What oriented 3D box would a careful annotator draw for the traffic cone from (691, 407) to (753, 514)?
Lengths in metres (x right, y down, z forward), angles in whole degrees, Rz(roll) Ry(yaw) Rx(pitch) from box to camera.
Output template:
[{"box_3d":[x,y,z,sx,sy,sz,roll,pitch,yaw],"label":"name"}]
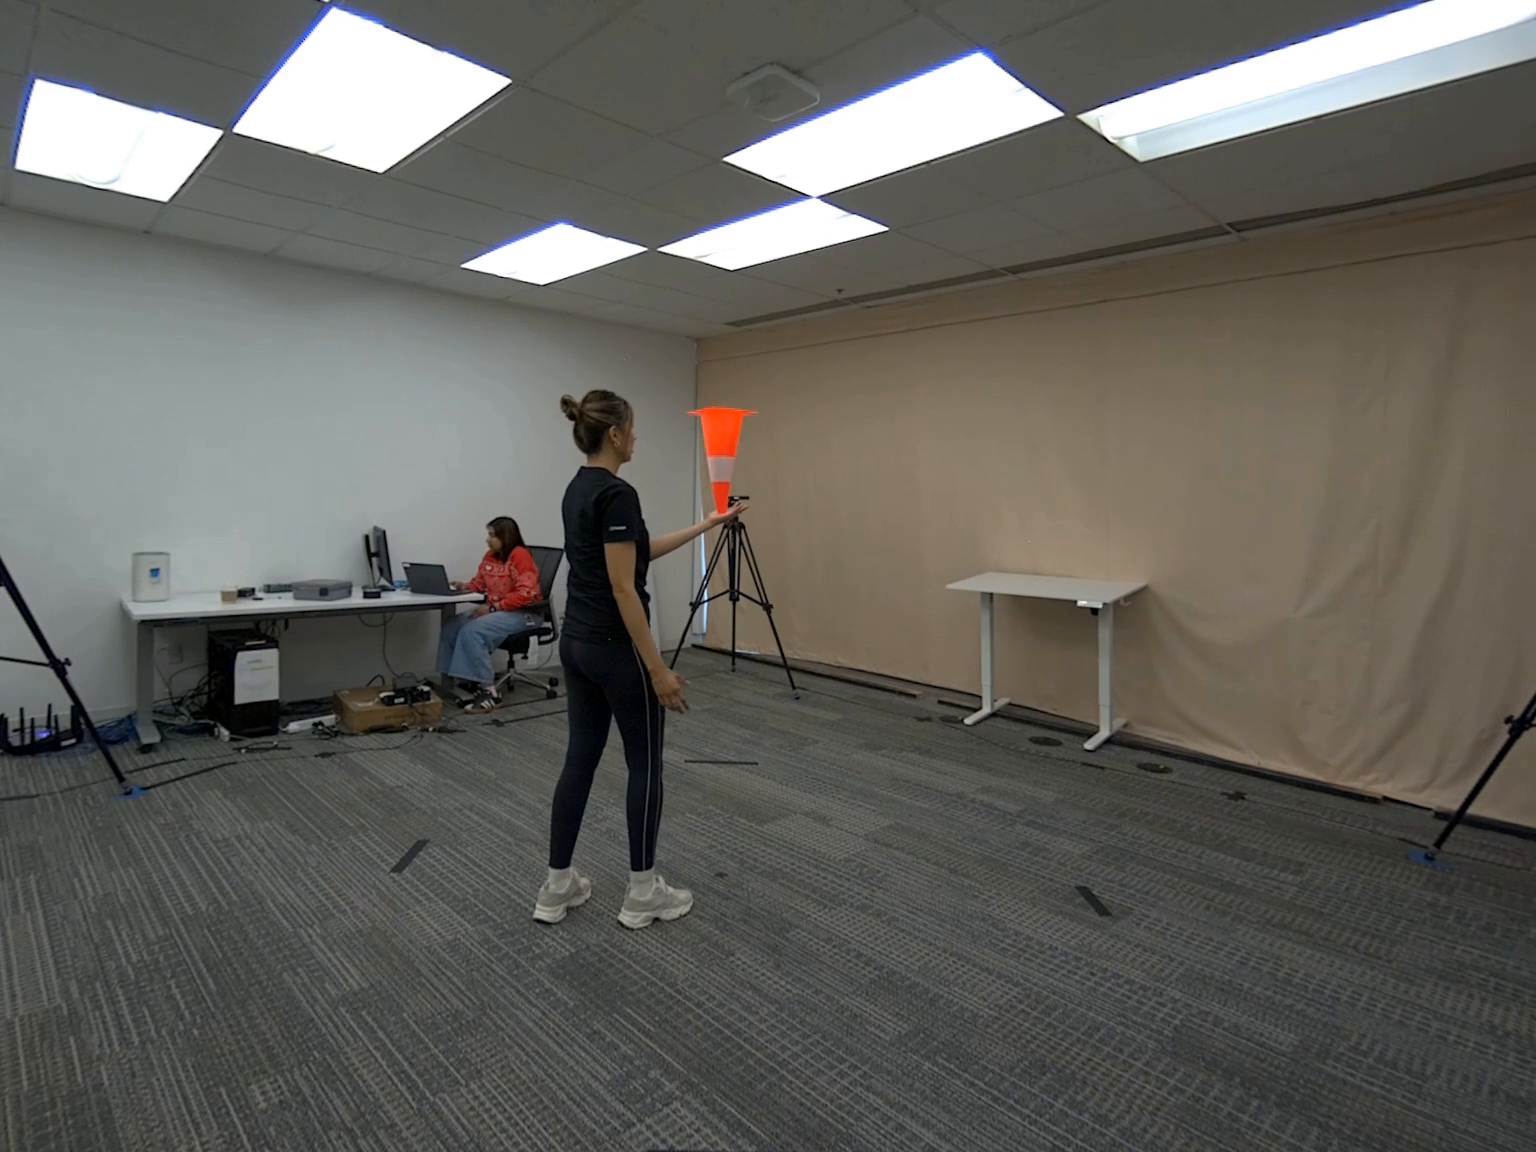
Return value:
[{"box_3d":[-0.179,-0.414,3.093,0.201,0.383,0.208,-1,1,-32],"label":"traffic cone"}]
